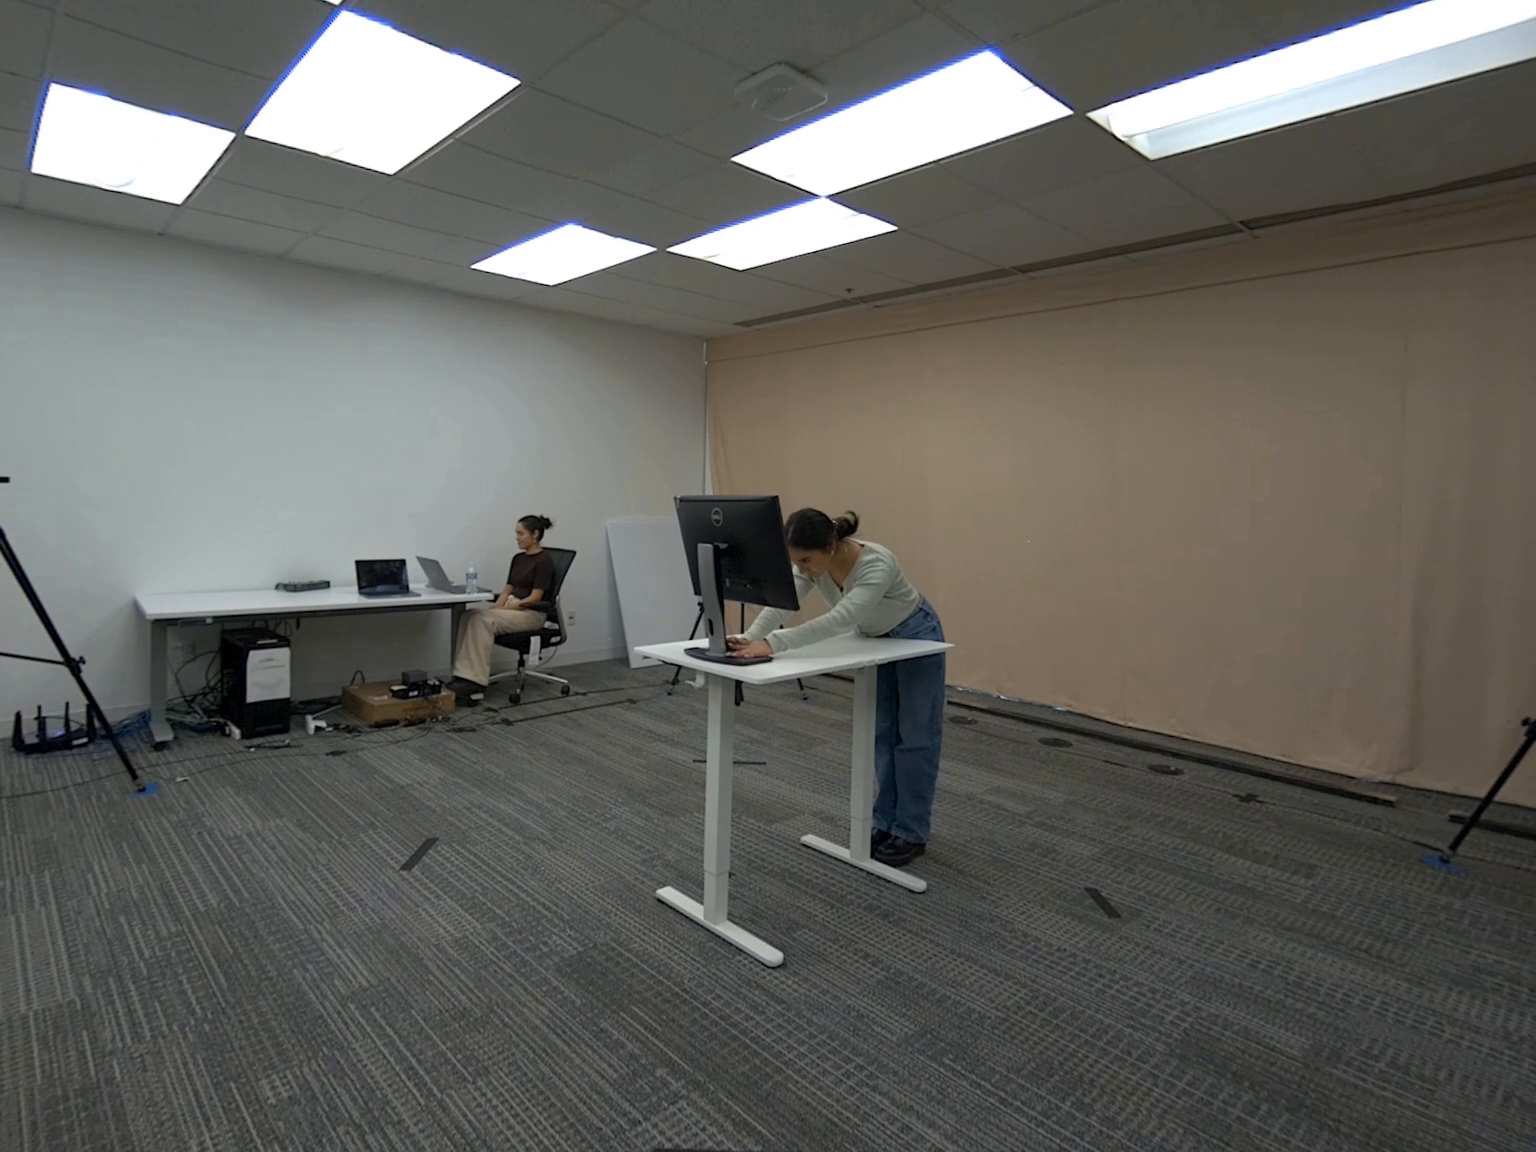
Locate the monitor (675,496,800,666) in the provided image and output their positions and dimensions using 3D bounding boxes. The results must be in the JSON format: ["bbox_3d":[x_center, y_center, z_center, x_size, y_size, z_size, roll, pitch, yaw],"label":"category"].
[{"bbox_3d":[-0.139,0.009,2.628,0.183,0.521,0.552,-4,6,-40],"label":"monitor"}]
